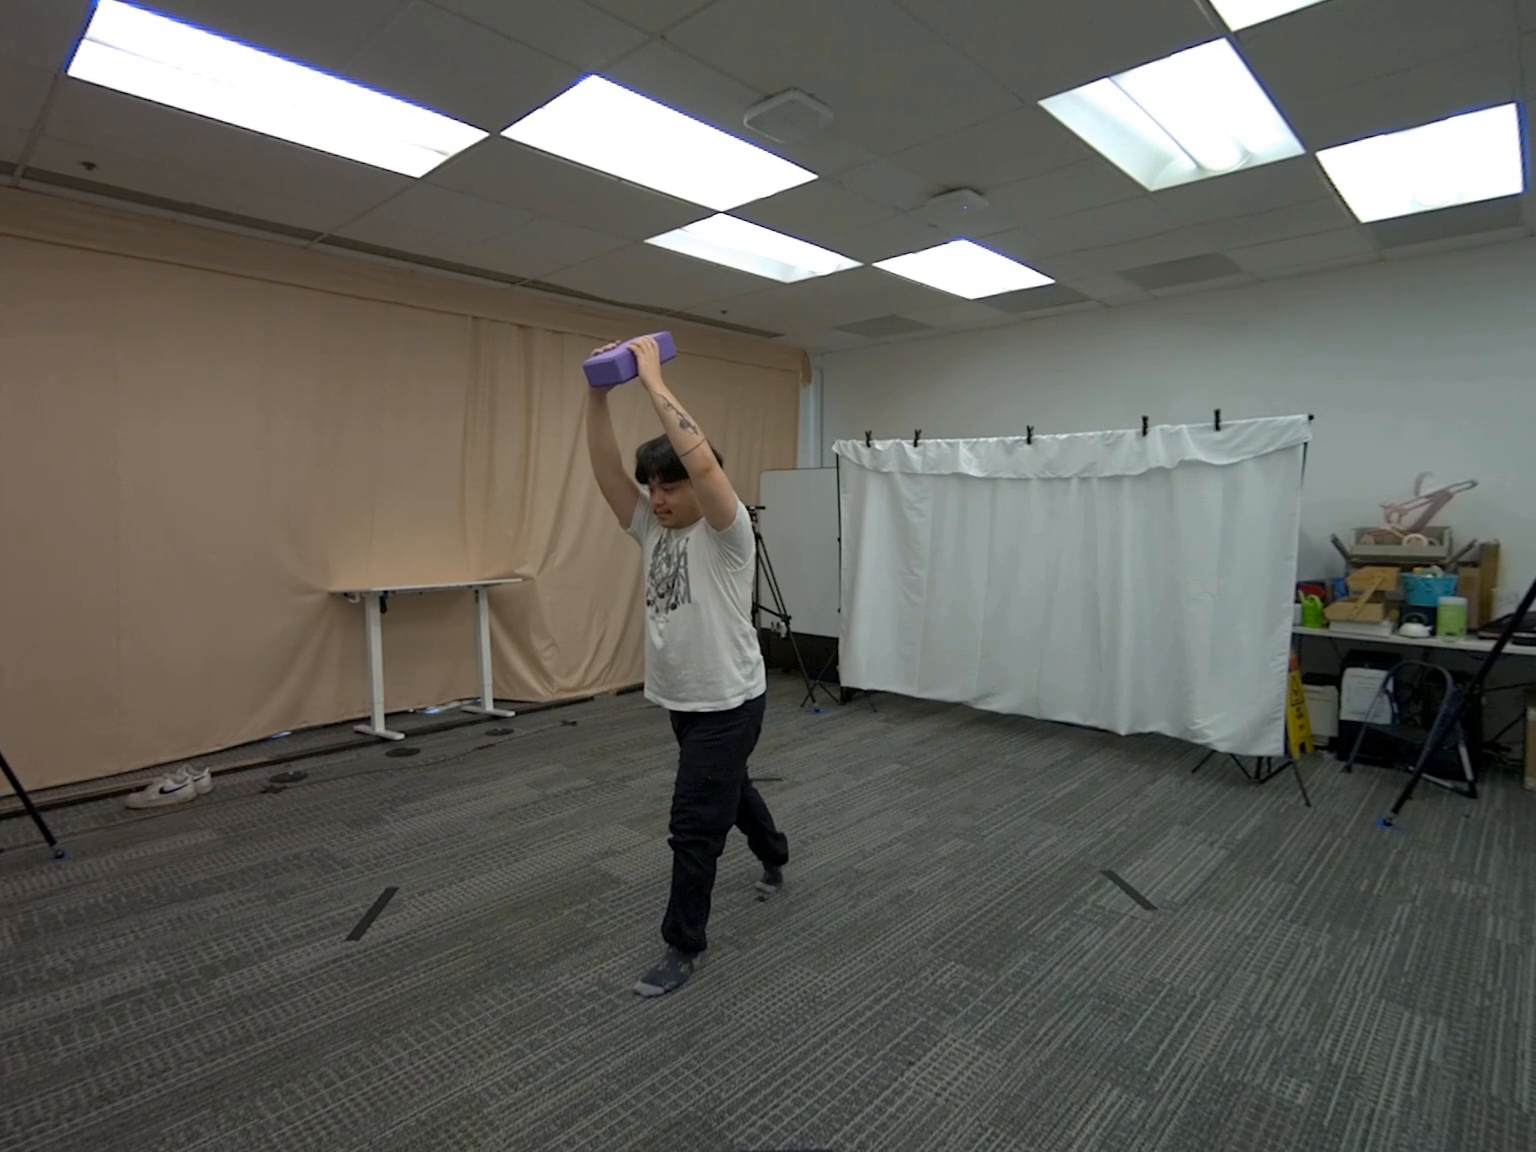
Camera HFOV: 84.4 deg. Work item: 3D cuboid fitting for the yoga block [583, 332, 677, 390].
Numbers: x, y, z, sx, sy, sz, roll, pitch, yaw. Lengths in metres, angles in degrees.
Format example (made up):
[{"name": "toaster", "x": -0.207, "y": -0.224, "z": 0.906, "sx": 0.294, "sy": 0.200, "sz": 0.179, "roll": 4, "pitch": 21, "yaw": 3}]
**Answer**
[{"name": "yoga block", "x": -0.381, "y": -0.603, "z": 2.340, "sx": 0.154, "sy": 0.075, "sz": 0.226, "roll": 5, "pitch": 33, "yaw": 41}]
